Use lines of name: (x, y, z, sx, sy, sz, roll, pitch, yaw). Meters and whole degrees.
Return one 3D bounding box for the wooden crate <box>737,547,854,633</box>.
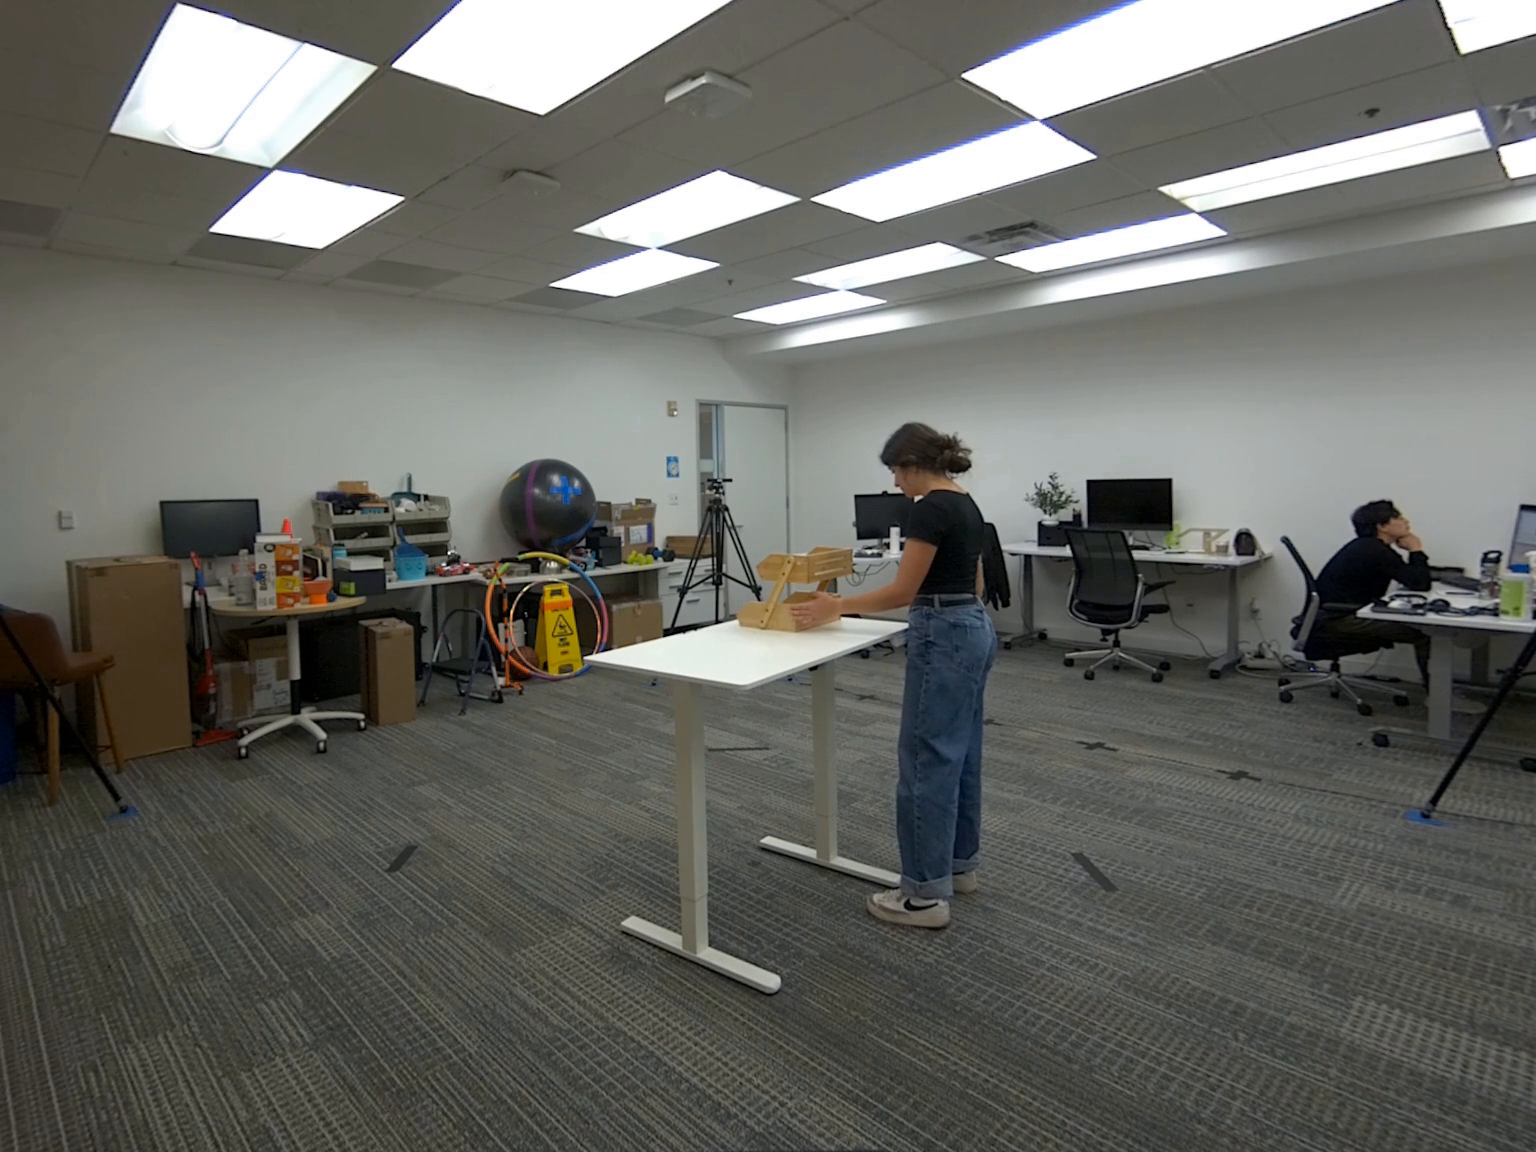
wooden crate: (0.096, 0.034, 3.011, 0.311, 0.272, 0.316, 4, 8, 37)
